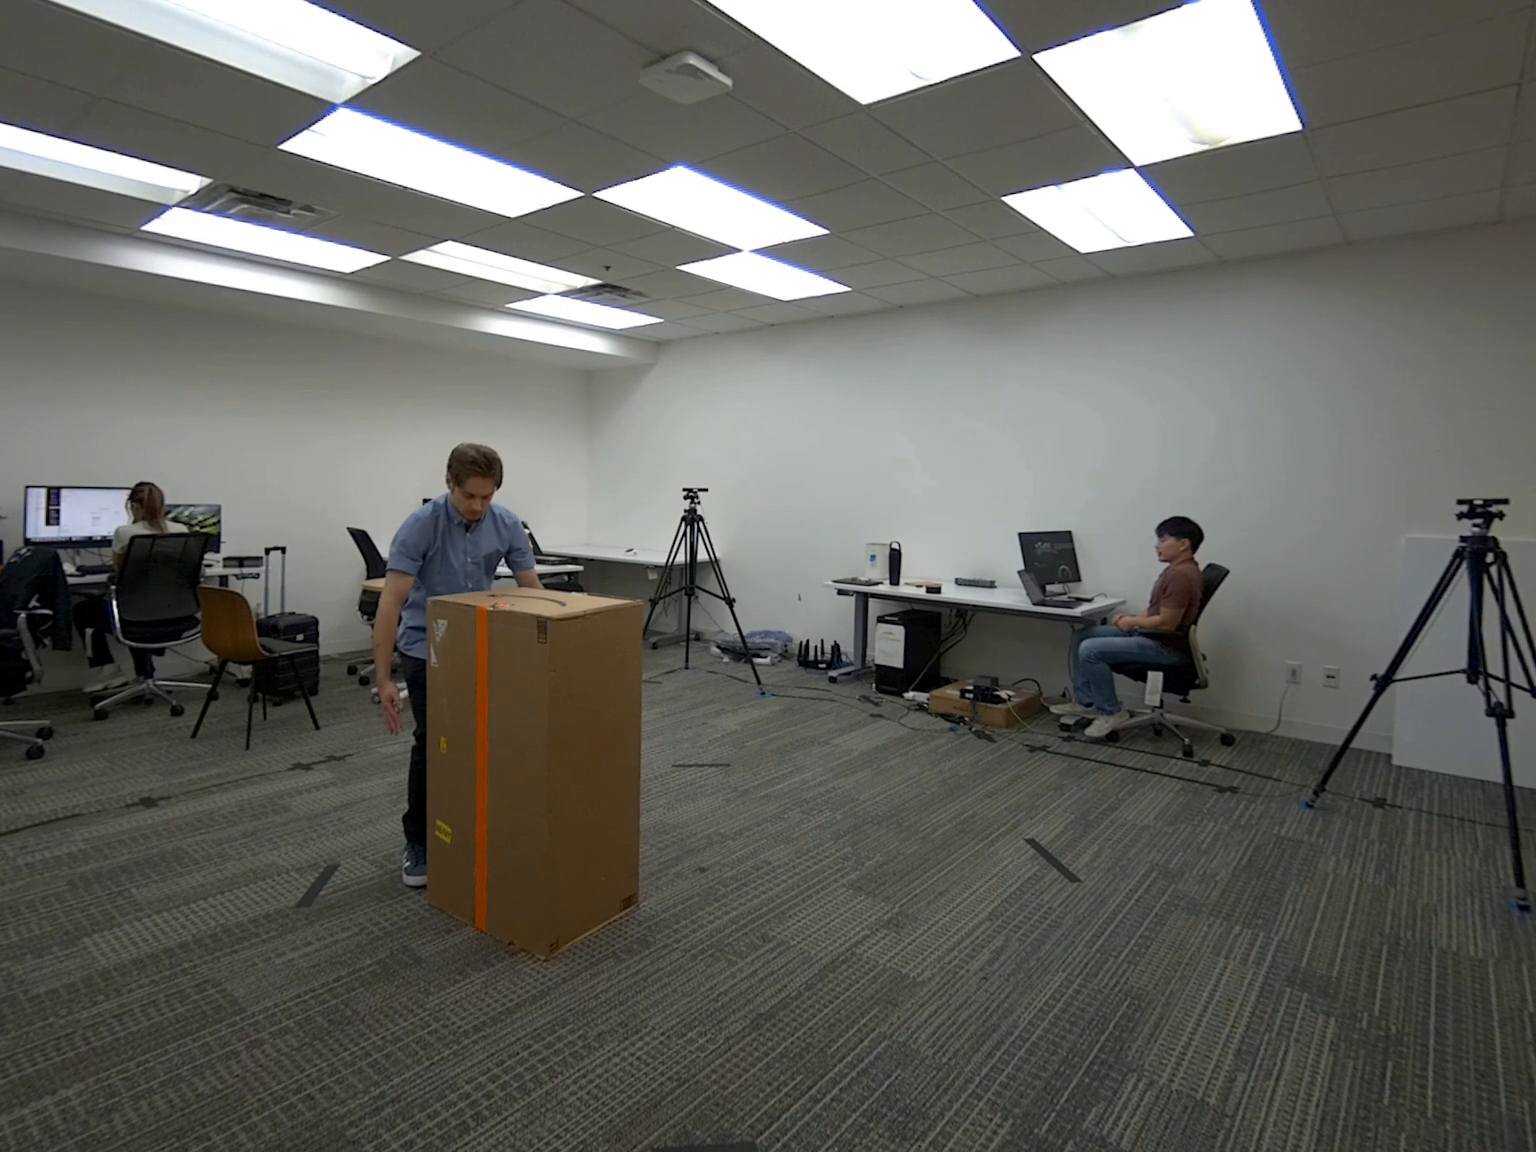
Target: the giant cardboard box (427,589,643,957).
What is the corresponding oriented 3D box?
[{"bbox_3d":[-0.776,0.584,2.783,0.596,1.023,0.414,4,4,35],"label":"giant cardboard box"}]
